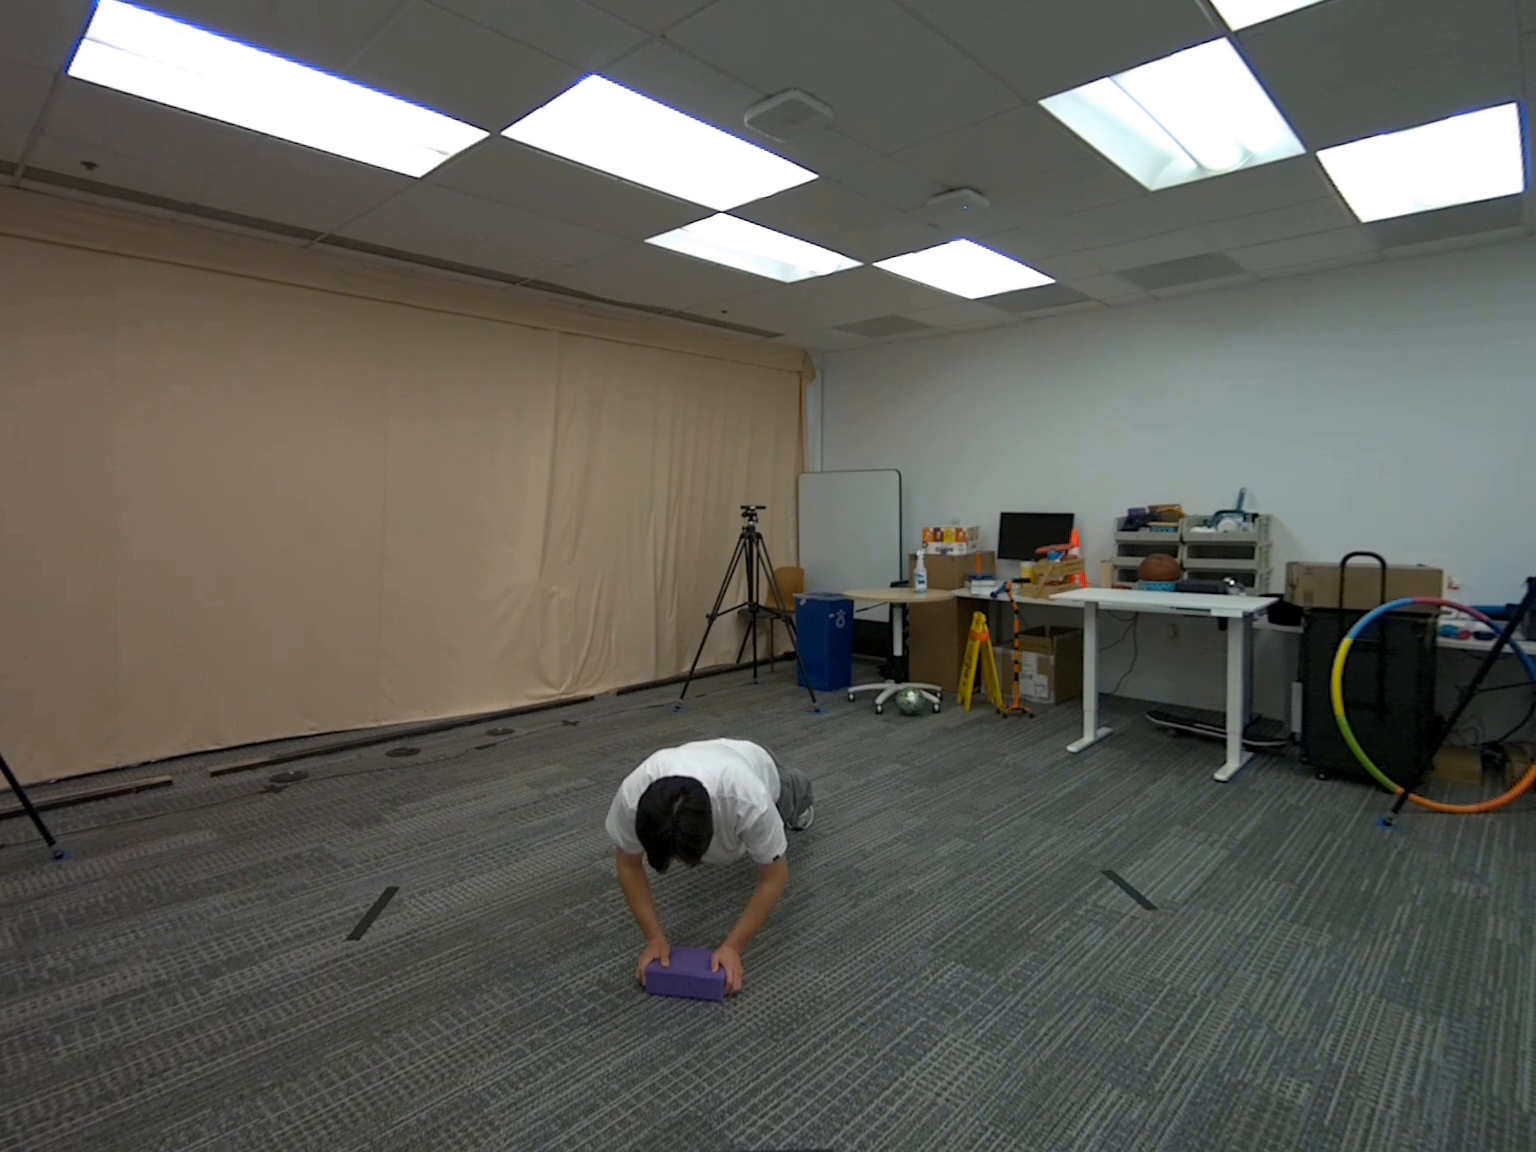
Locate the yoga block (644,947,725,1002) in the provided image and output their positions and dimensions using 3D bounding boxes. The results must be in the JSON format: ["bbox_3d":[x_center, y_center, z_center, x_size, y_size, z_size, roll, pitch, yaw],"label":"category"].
[{"bbox_3d":[-0.230,1.150,2.454,0.232,0.076,0.147,2,6,12],"label":"yoga block"}]
